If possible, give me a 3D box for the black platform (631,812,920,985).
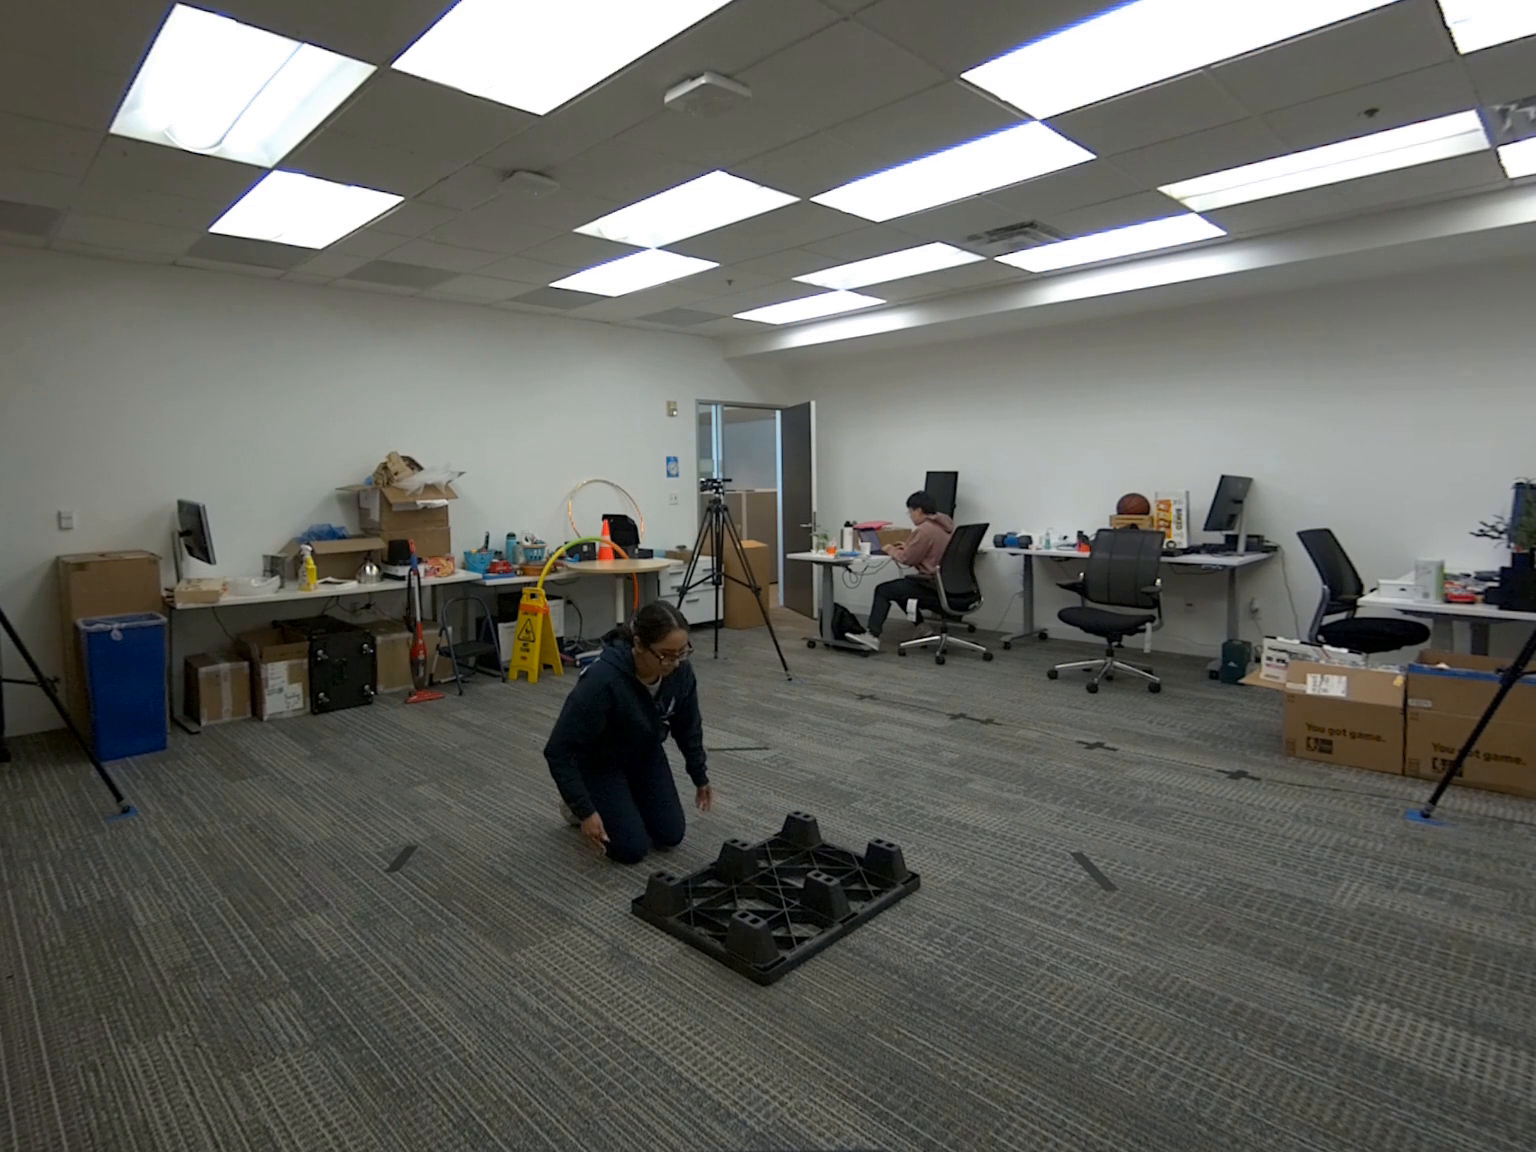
[{"bbox_3d":[0.039,1.011,2.825,0.624,0.143,0.785,4,8,43],"label":"black platform"}]
